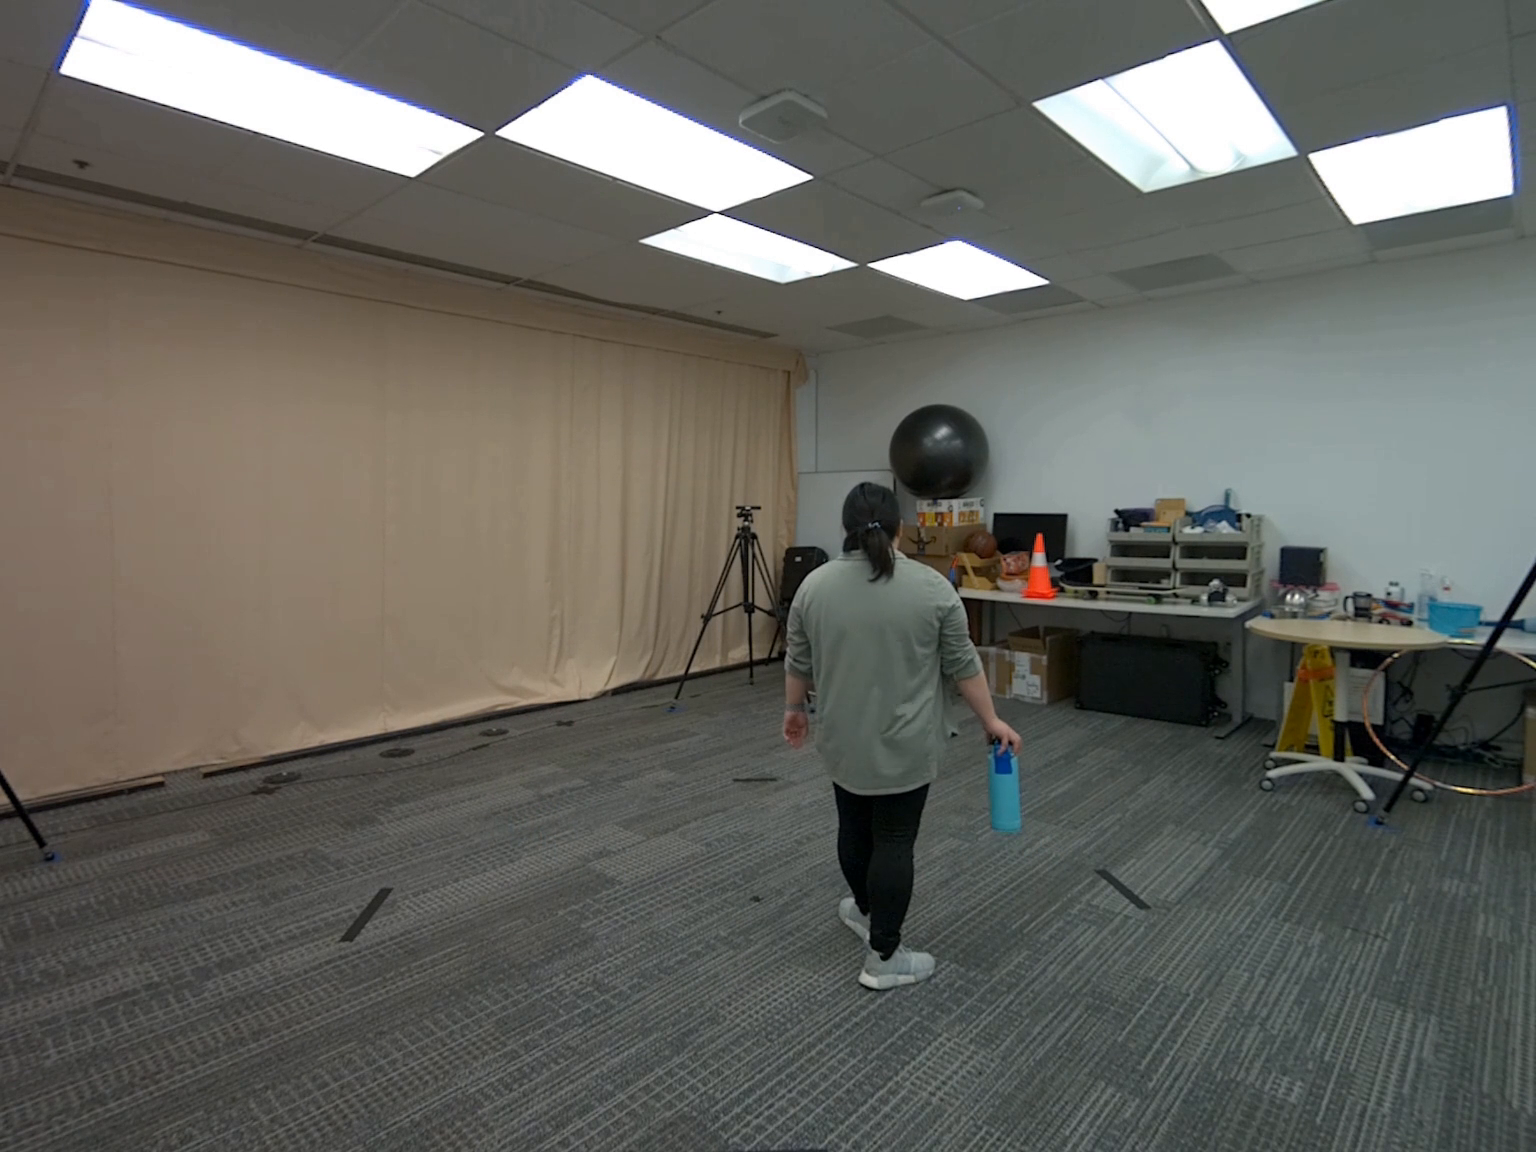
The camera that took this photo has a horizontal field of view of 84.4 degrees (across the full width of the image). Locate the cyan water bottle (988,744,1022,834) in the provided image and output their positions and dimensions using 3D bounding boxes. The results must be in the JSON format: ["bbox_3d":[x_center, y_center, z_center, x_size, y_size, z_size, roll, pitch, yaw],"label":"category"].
[{"bbox_3d":[0.731,0.628,2.539,0.092,0.283,0.092,-2,-1,-2],"label":"cyan water bottle"}]
